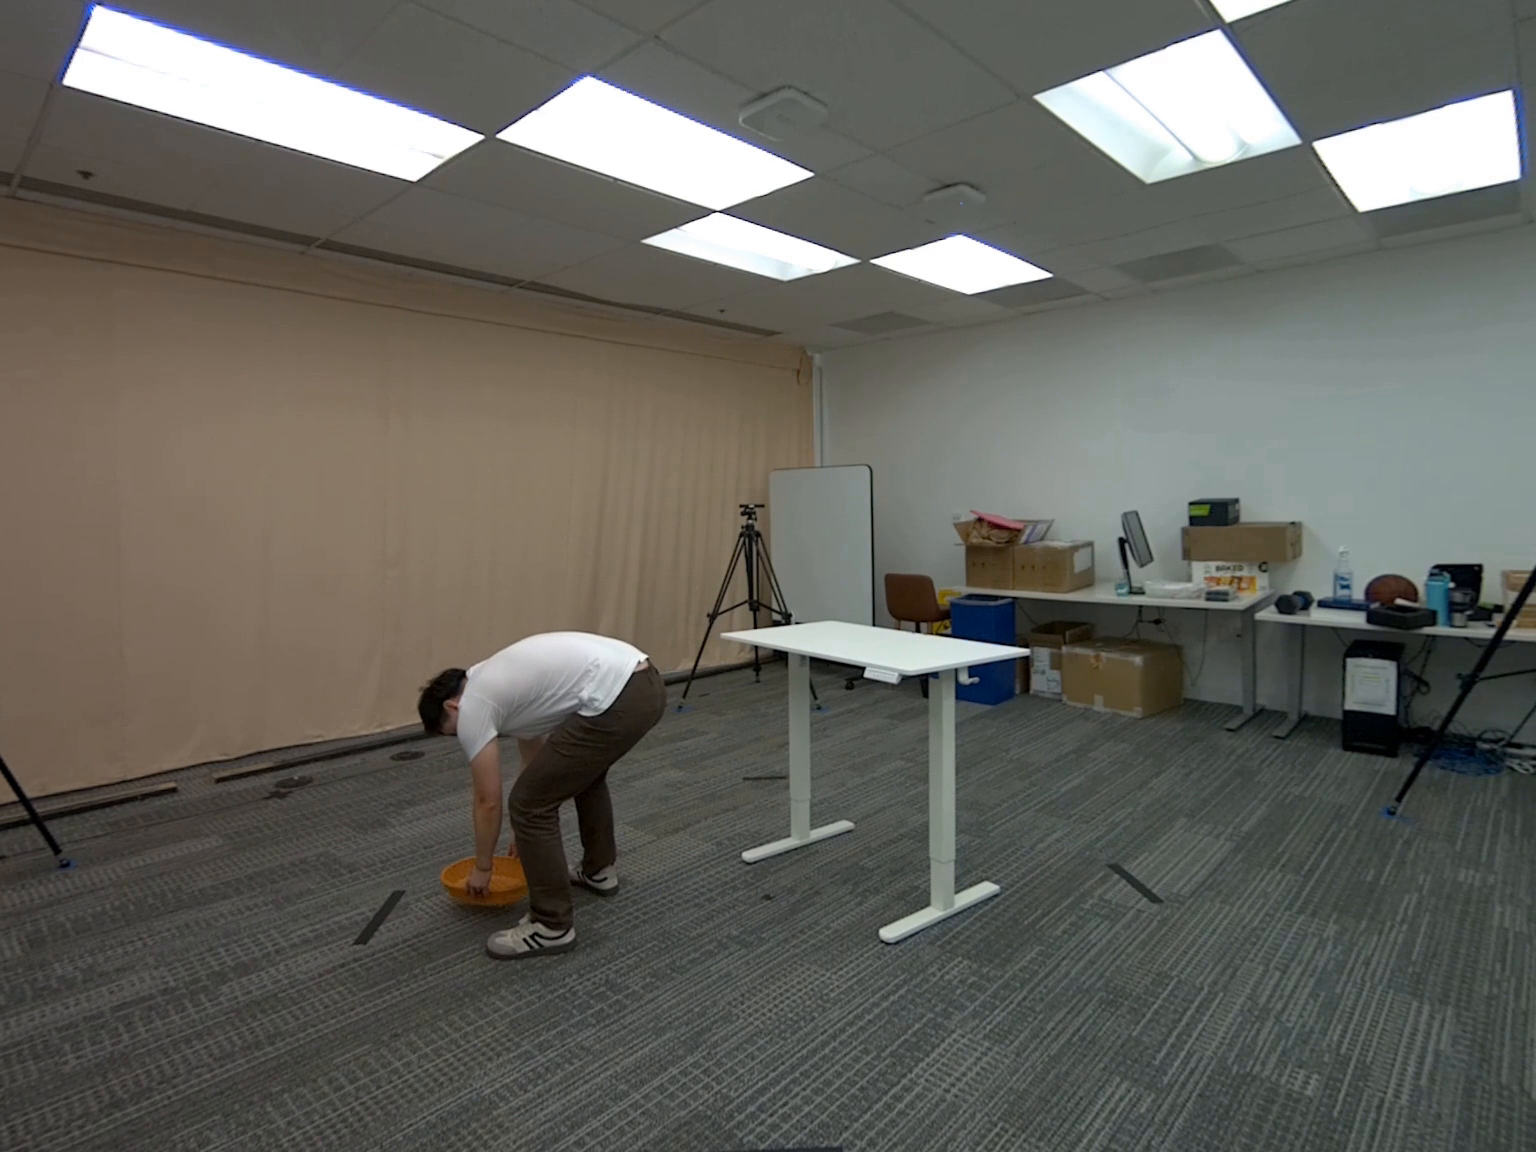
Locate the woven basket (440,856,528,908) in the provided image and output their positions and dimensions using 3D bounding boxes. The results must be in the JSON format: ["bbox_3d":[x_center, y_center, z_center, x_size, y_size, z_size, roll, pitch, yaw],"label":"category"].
[{"bbox_3d":[-0.980,1.071,2.940,0.355,0.073,0.250,0,6,12],"label":"woven basket"}]
